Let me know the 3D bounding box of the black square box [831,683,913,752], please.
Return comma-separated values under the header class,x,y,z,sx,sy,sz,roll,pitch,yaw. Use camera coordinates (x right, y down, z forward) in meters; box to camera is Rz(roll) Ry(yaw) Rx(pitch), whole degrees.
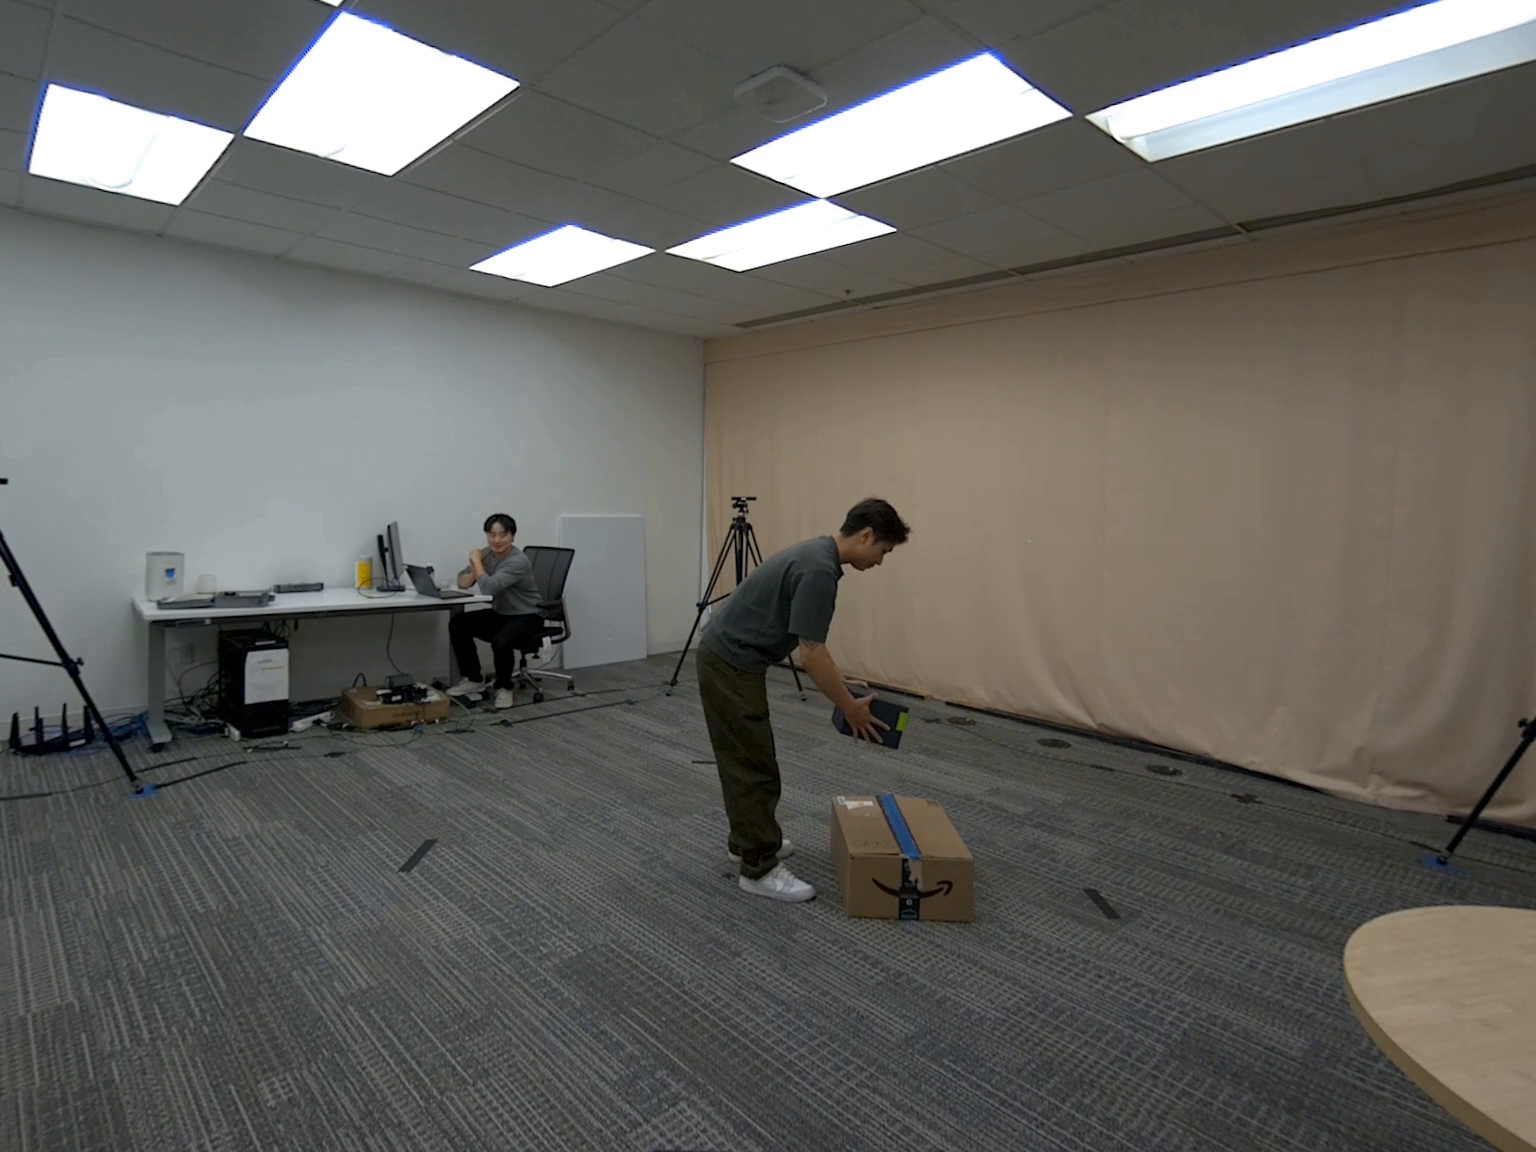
class,x,y,z,sx,sy,sz,roll,pitch,yaw
black square box,0.369,0.504,3.063,0.217,0.156,0.228,16,-1,-2
